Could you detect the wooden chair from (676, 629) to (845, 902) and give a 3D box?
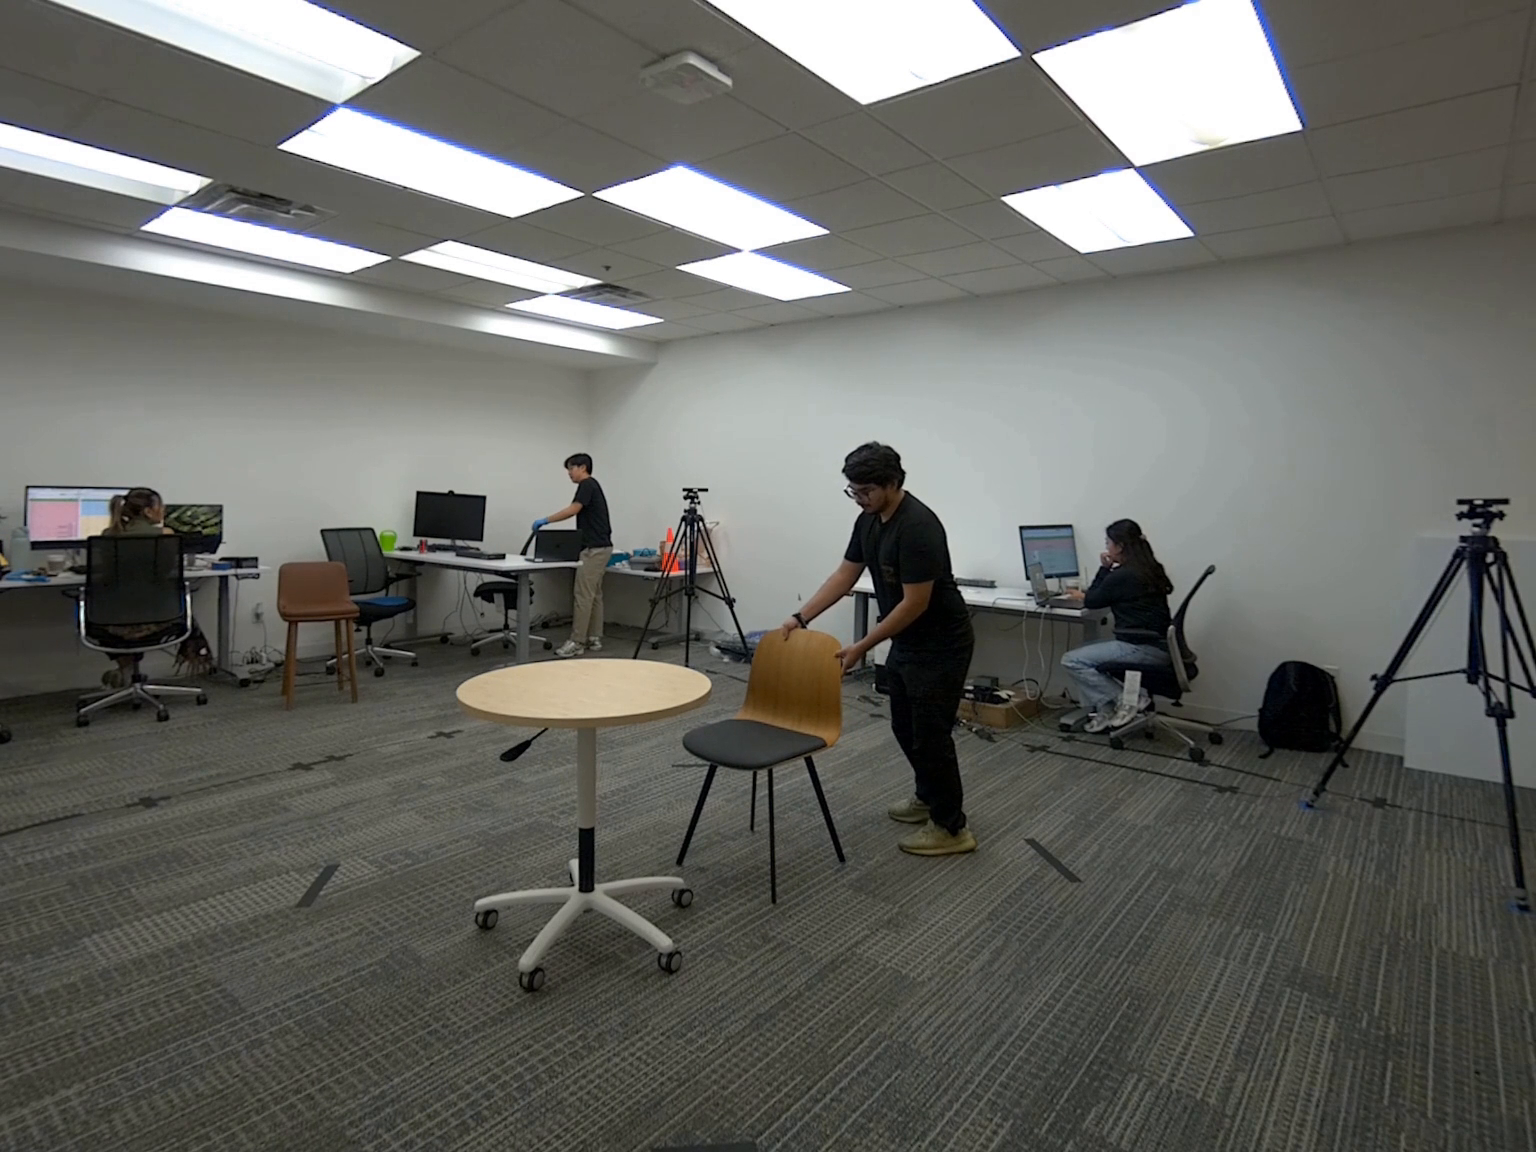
[{"bbox_3d":[-0.029,0.644,3.140,0.494,0.878,0.506,3,-1,38],"label":"wooden chair"}]
